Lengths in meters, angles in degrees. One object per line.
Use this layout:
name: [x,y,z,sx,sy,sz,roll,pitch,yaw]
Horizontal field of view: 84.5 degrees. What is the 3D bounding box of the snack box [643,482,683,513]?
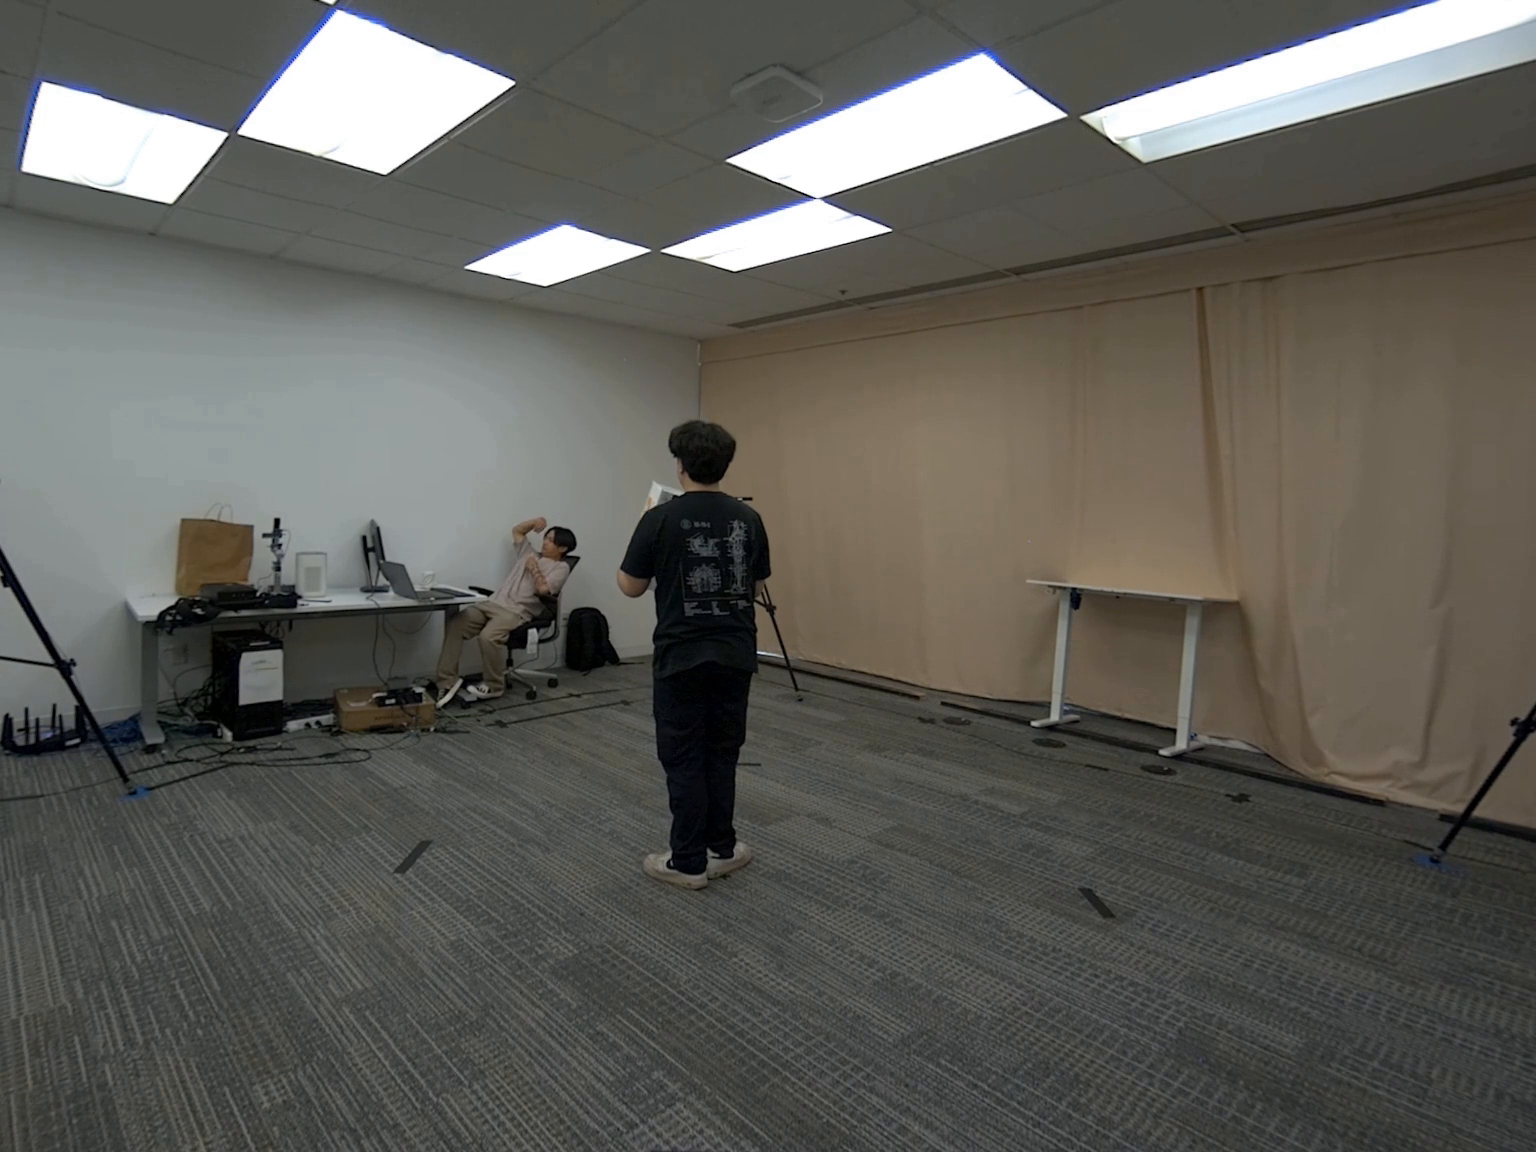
snack box: [-0.365,-0.129,3.449,0.334,0.404,0.210,17,9,-20]
